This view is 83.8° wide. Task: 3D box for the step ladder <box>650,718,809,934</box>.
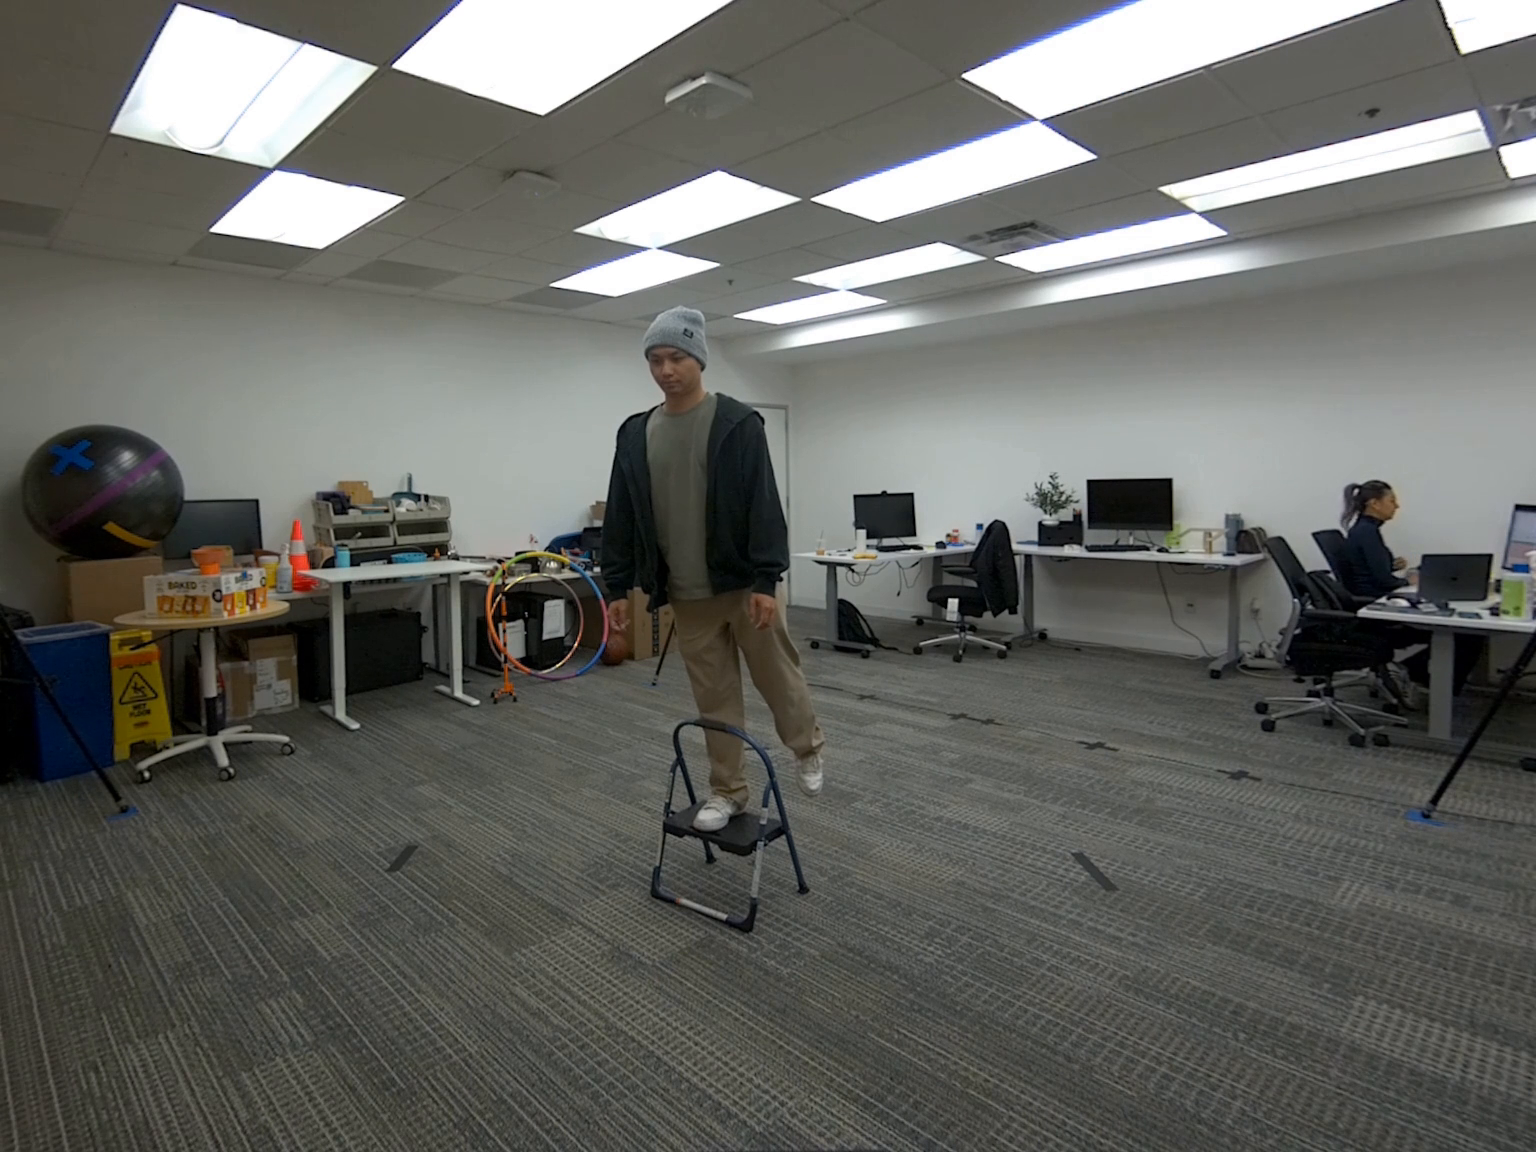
[{"bbox_3d":[-0.134,0.773,2.864,0.443,0.604,0.341,2,6,35],"label":"step ladder"}]
